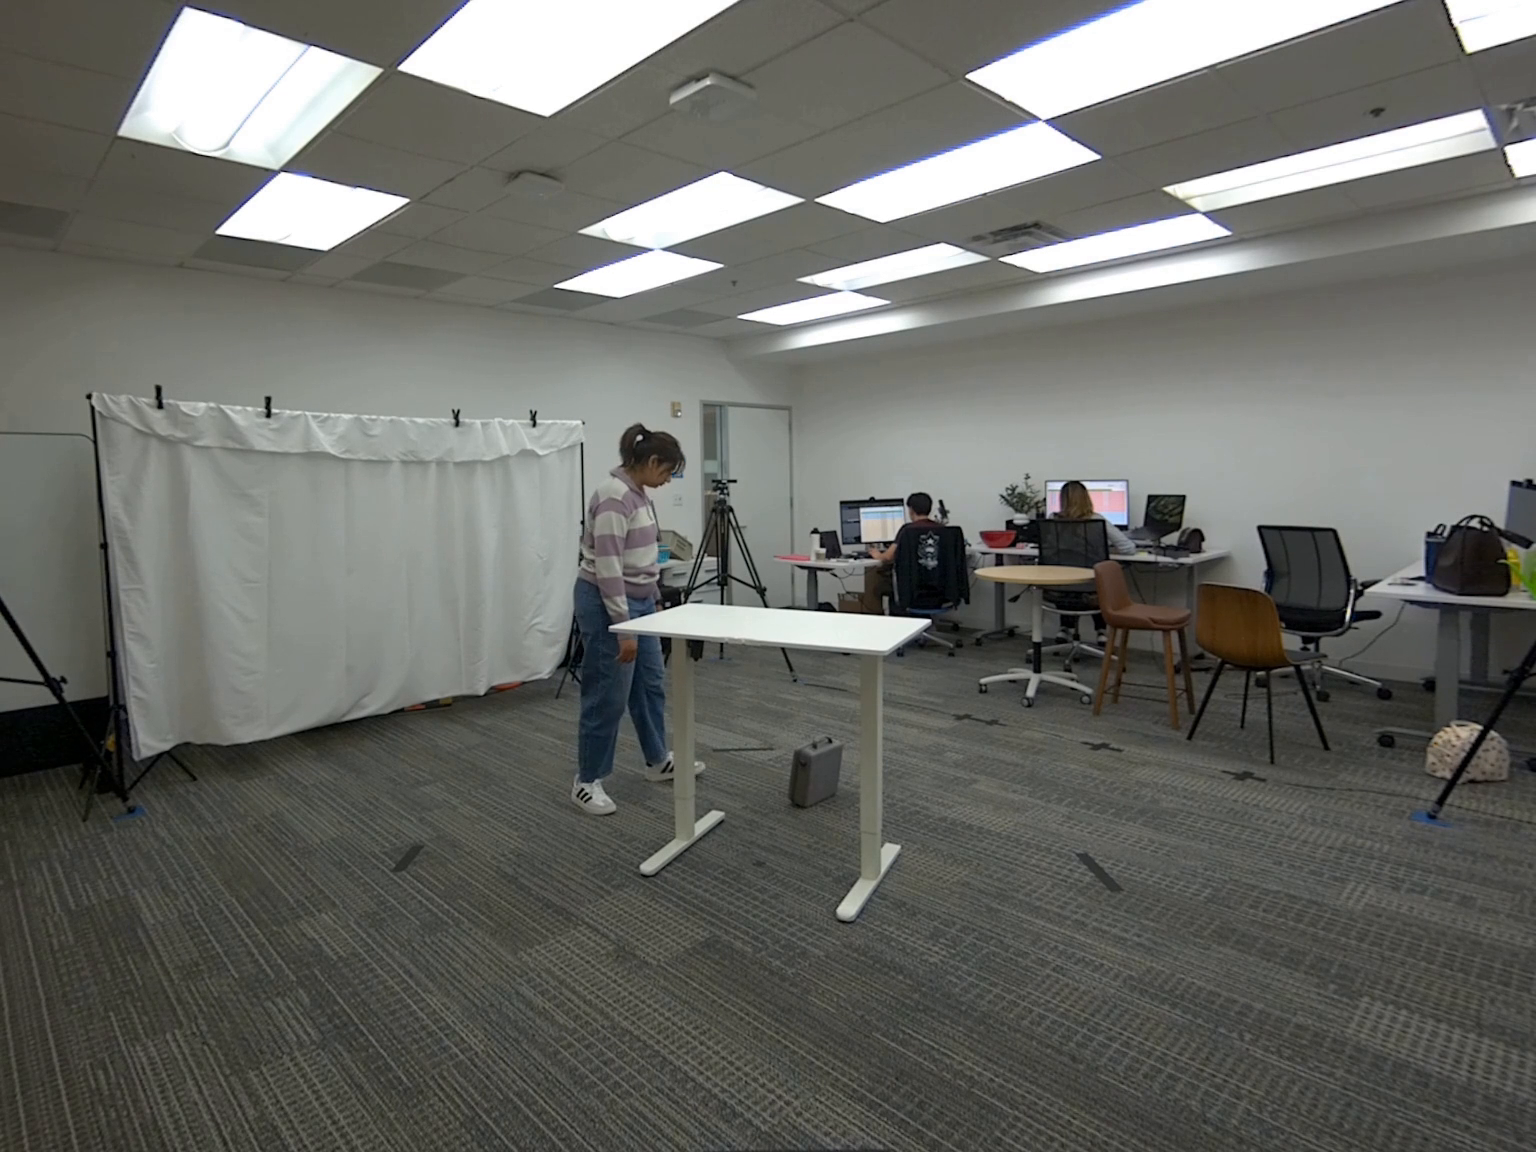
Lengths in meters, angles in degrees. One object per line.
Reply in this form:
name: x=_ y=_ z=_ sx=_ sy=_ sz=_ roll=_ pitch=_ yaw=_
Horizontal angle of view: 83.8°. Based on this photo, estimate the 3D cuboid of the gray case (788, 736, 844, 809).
gray case: x=0.215 y=0.845 z=3.715 sx=0.108 sy=0.258 sz=0.250 roll=15 pitch=14 yaw=40
